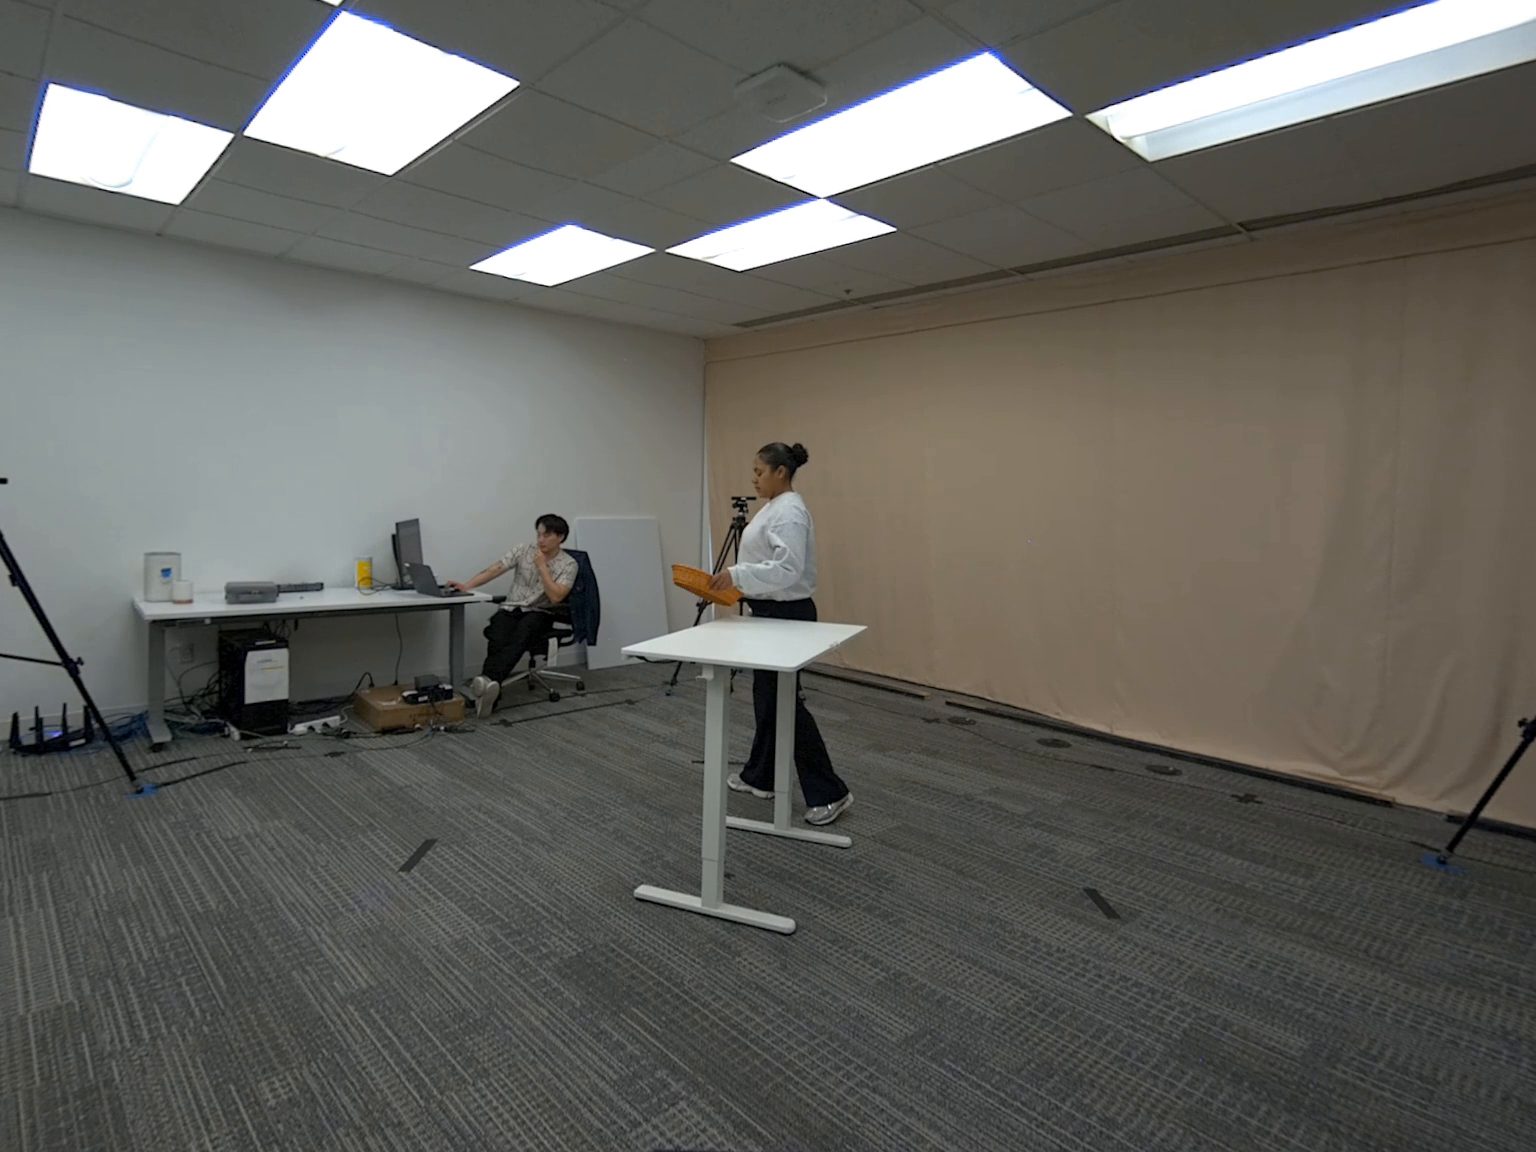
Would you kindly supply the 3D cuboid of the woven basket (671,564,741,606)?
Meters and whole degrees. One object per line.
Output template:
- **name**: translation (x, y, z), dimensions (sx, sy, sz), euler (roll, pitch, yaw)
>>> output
- **woven basket**: translation (-0.268, 0.057, 3.601), dimensions (0.343, 0.074, 0.256), euler (25, -13, -23)
